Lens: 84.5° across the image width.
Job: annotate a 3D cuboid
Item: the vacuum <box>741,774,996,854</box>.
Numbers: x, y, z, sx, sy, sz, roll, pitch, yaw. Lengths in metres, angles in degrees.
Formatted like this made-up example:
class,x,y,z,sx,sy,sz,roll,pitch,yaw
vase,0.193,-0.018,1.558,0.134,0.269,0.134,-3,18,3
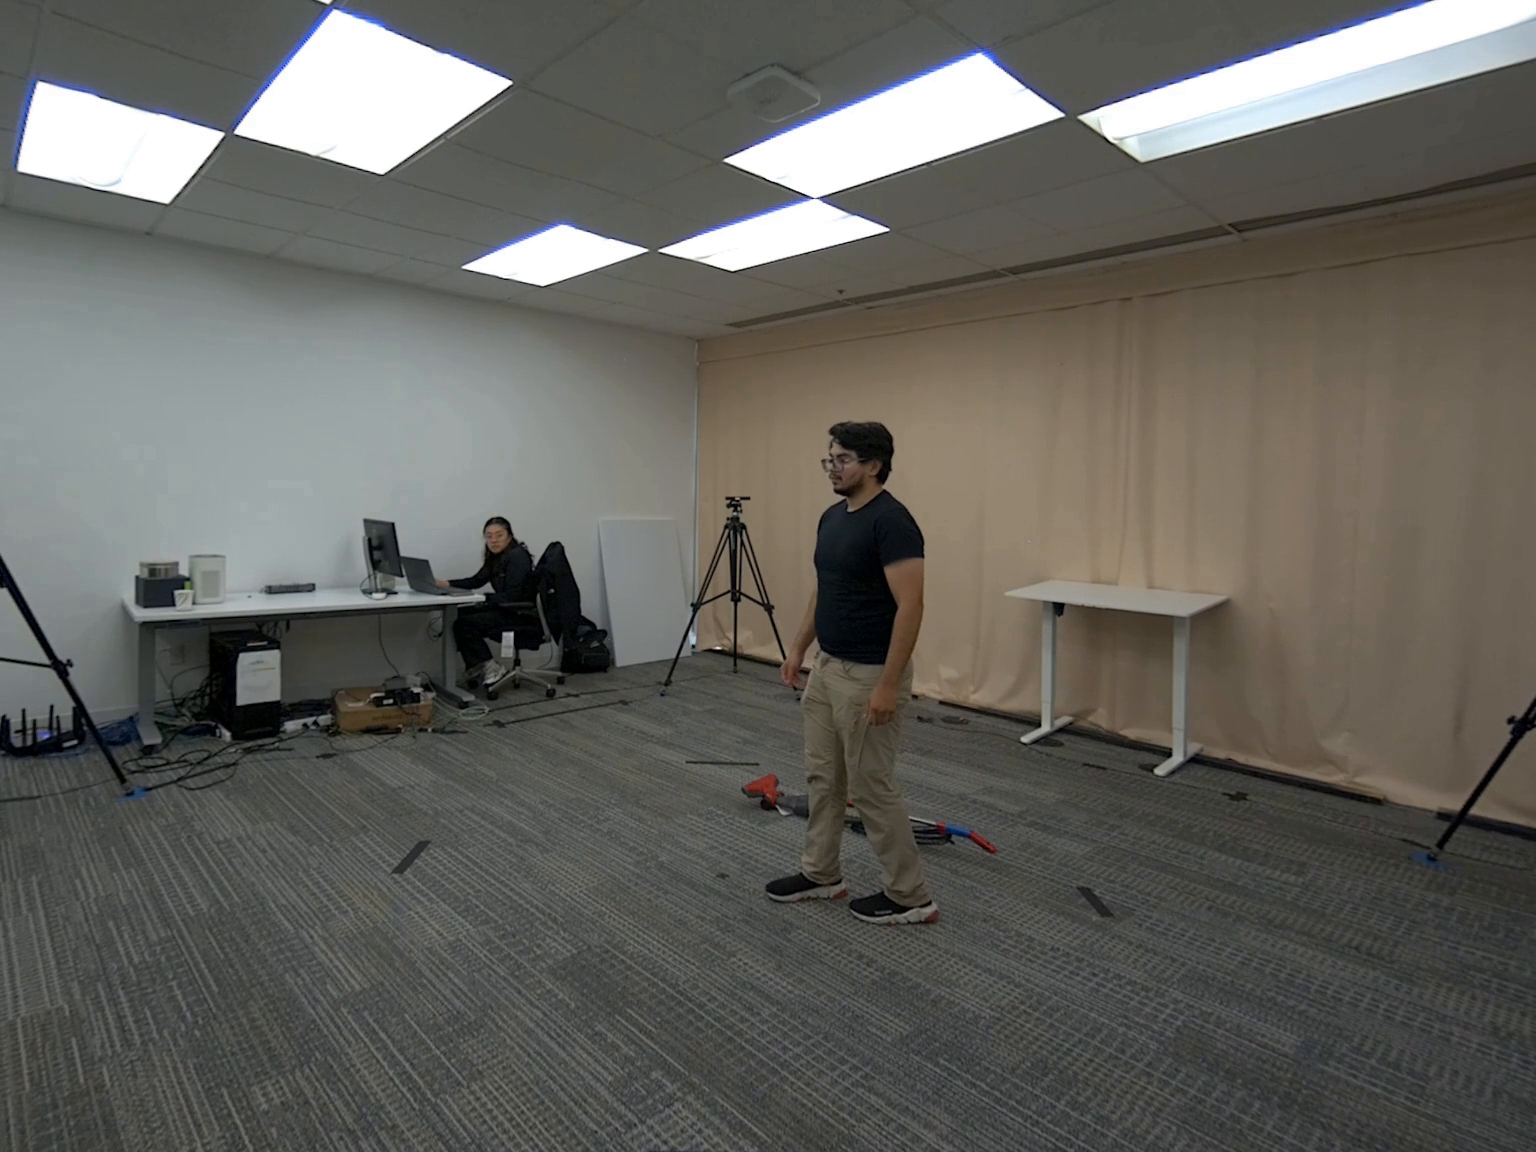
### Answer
class,x,y,z,sx,sy,sz,roll,pitch,yaw
vacuum,0.409,1.026,3.542,1.074,0.143,0.247,4,7,35
